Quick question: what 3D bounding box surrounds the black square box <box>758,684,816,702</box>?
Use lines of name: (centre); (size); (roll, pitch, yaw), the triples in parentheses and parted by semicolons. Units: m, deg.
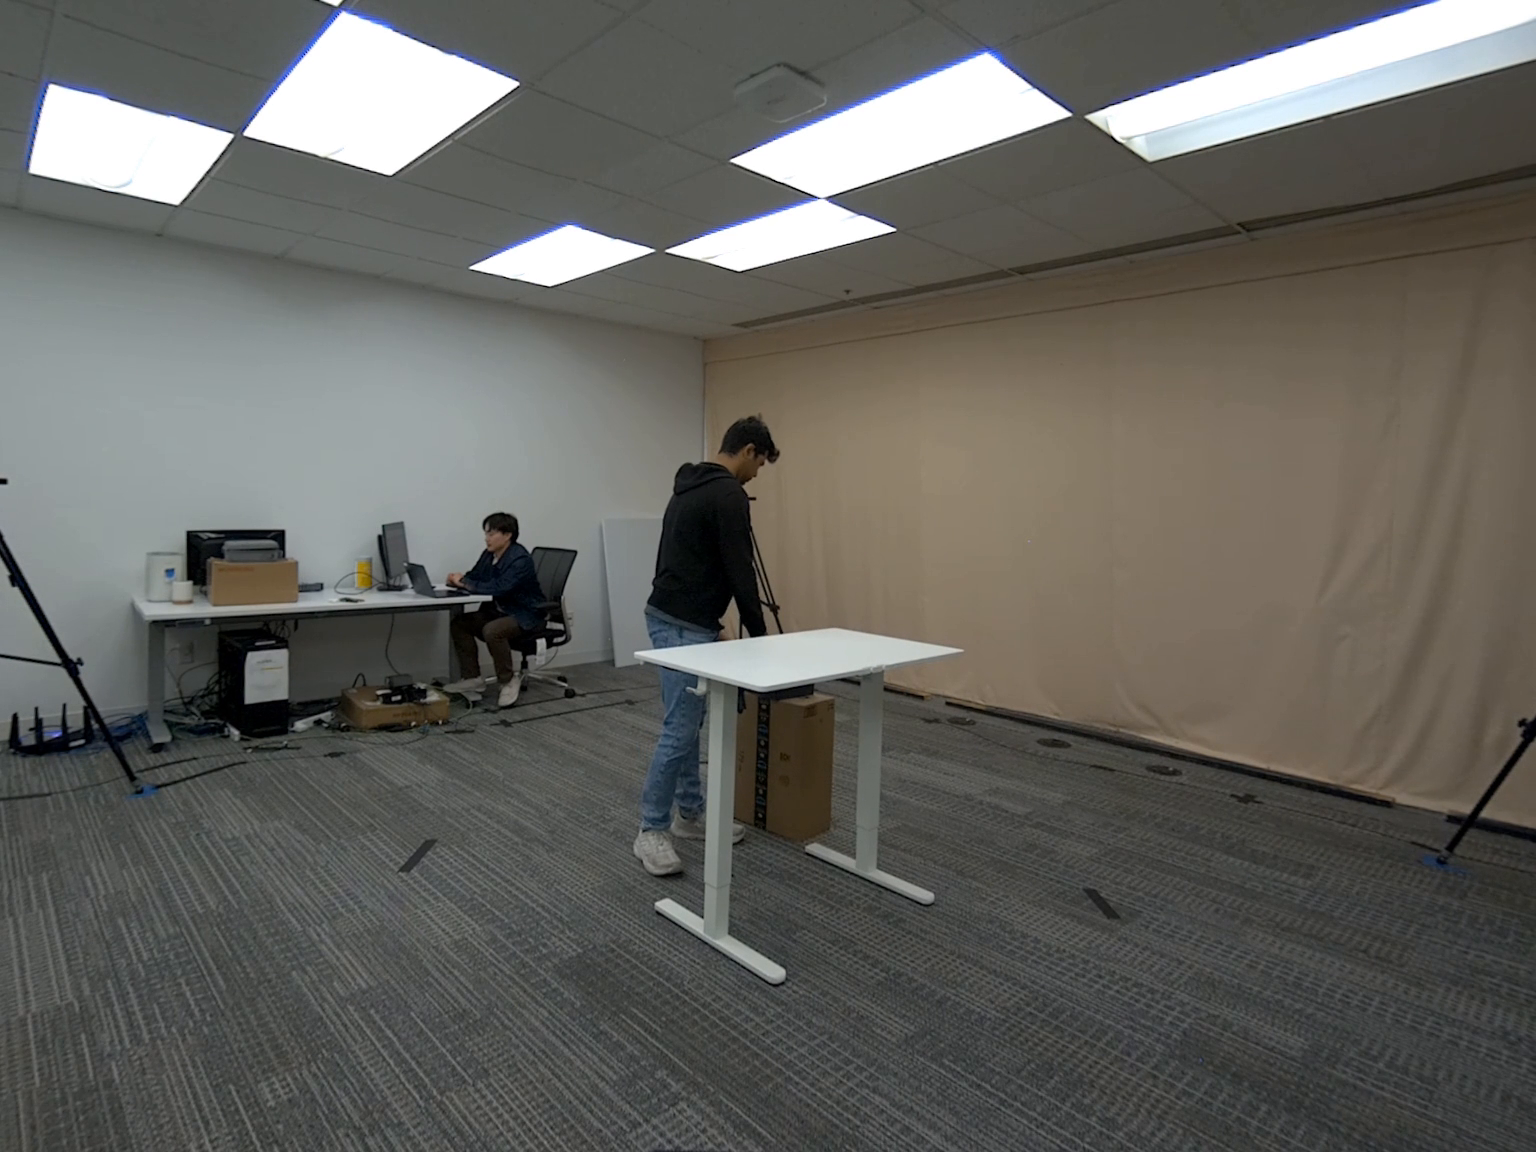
black square box: (0.036, 0.423, 3.617); (0.212, 0.155, 0.234); (-2, 5, -39)
